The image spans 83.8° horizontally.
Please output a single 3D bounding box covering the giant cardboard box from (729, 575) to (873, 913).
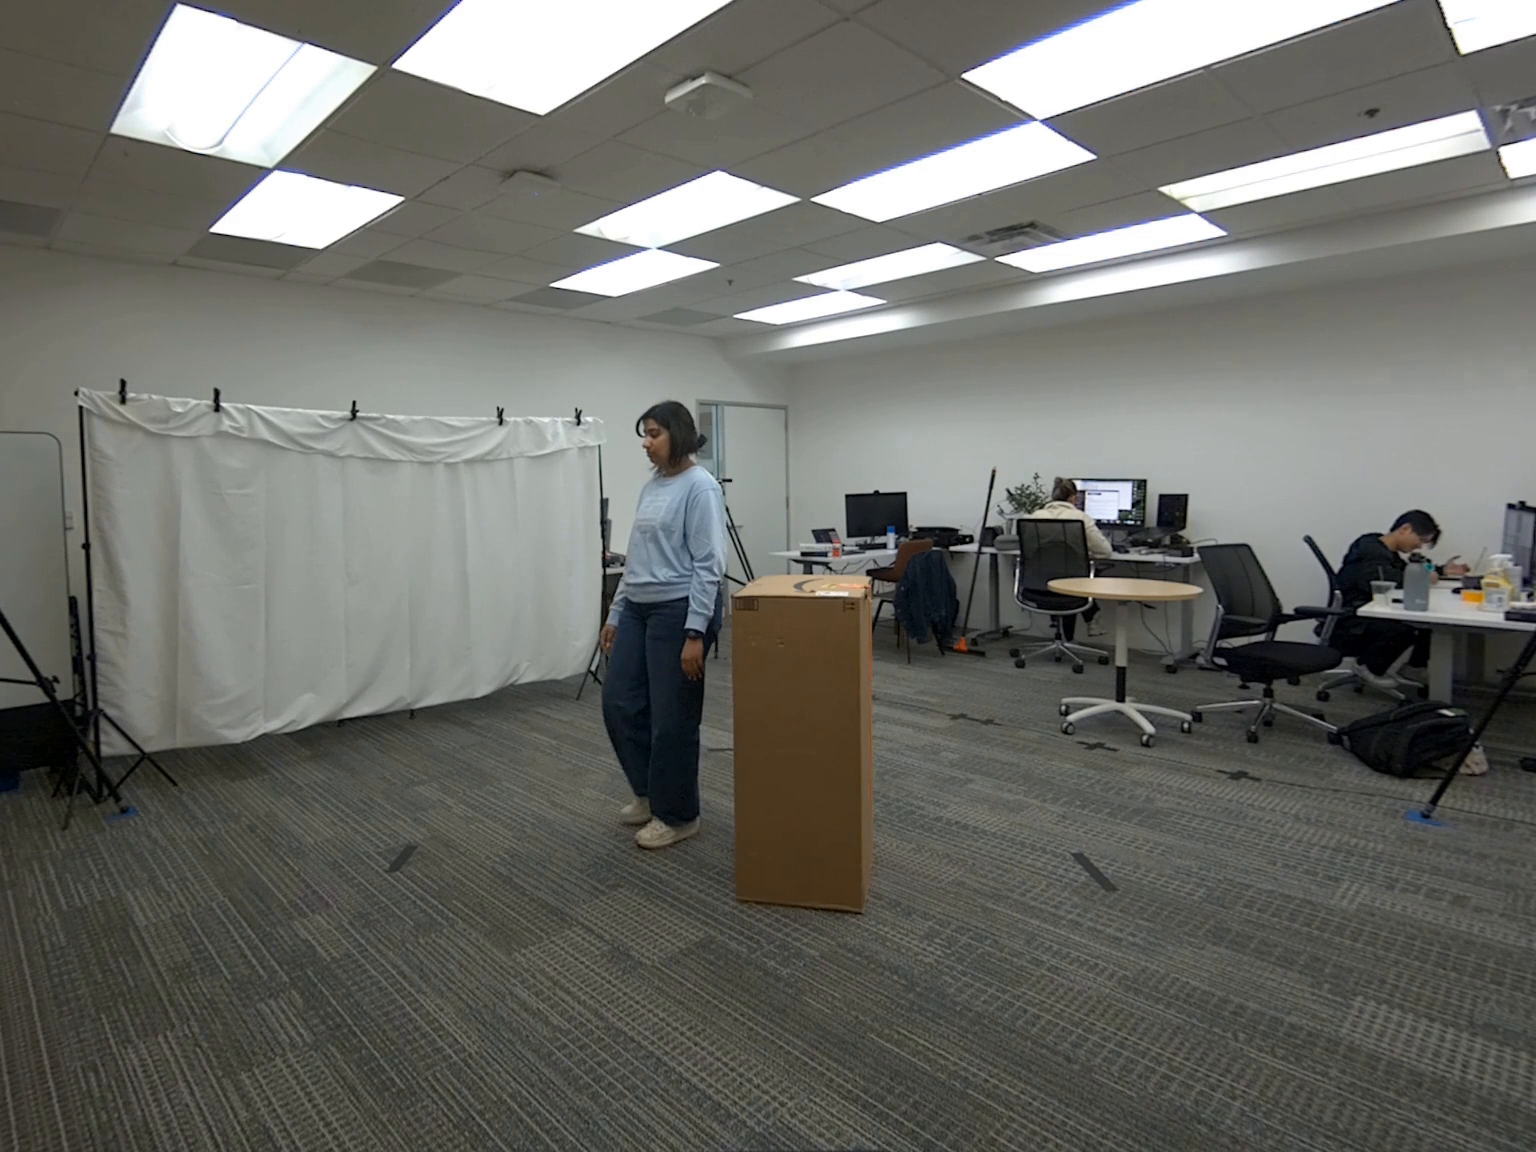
[{"bbox_3d":[0.144,0.542,3.021,0.431,1.022,0.573,0,4,11],"label":"giant cardboard box"}]
